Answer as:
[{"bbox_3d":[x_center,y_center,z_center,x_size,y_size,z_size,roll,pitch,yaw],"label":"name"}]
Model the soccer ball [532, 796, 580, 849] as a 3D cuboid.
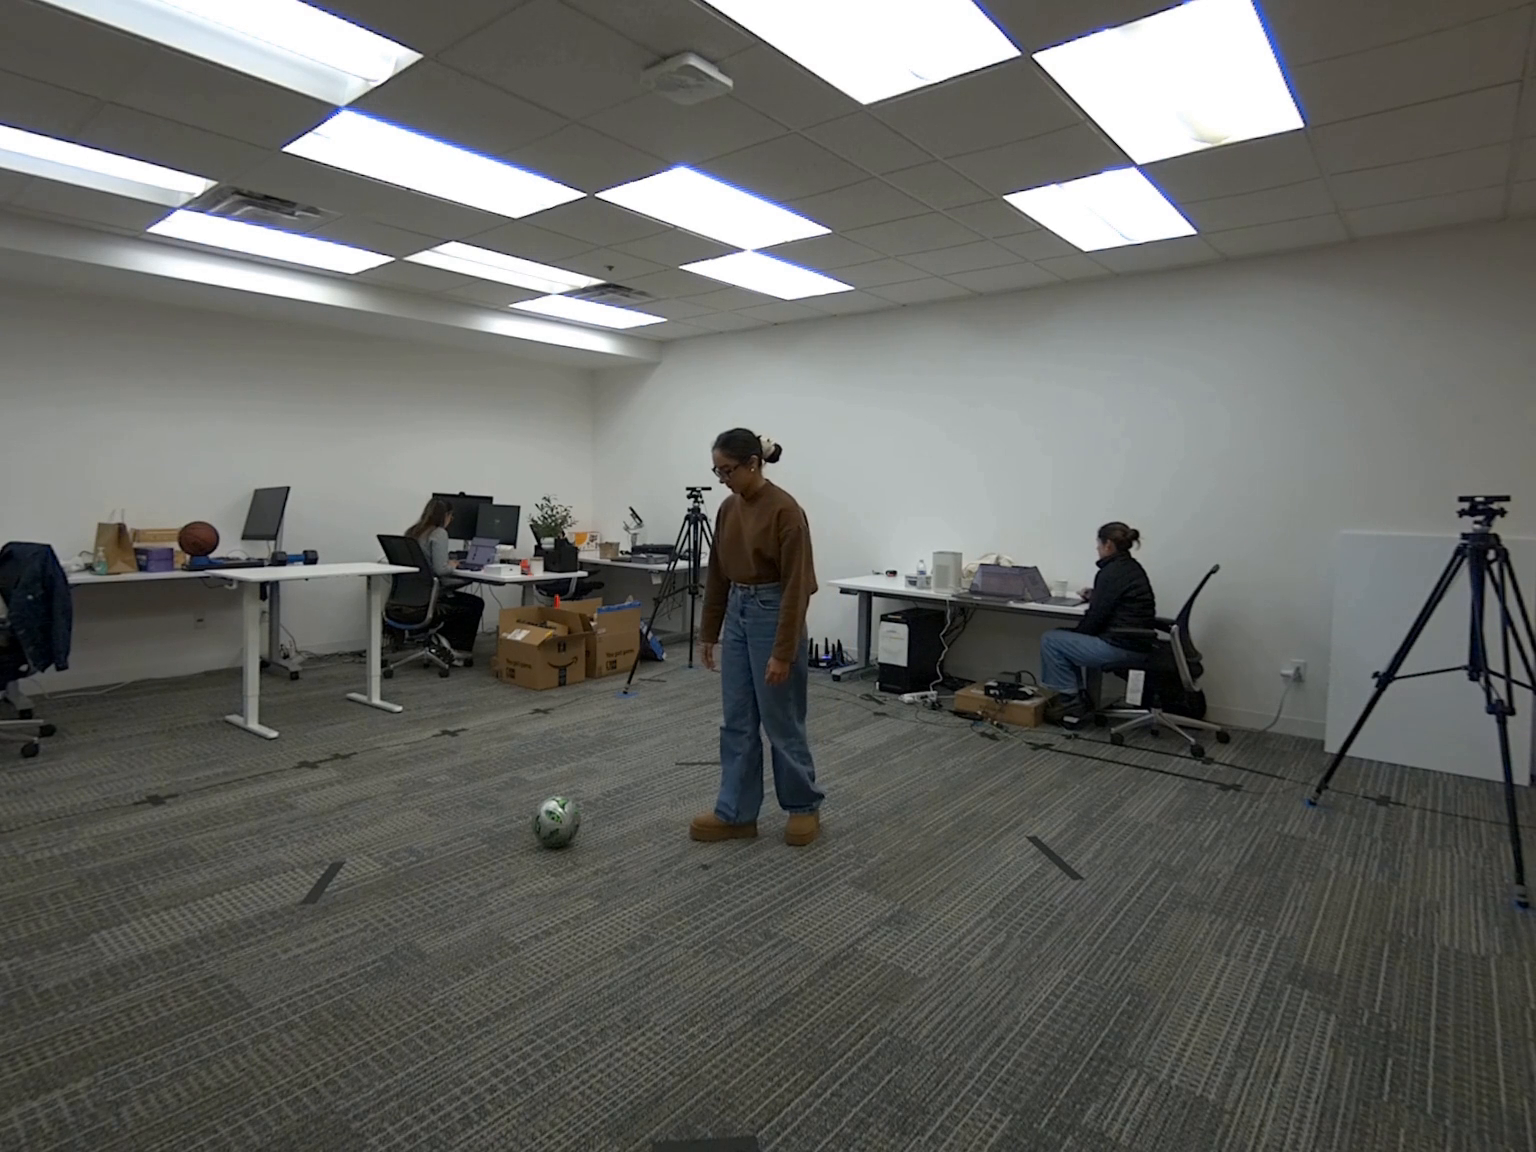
[{"bbox_3d":[-0.826,0.943,3.288,0.187,0.187,0.188,1,4,-2],"label":"soccer ball"}]
